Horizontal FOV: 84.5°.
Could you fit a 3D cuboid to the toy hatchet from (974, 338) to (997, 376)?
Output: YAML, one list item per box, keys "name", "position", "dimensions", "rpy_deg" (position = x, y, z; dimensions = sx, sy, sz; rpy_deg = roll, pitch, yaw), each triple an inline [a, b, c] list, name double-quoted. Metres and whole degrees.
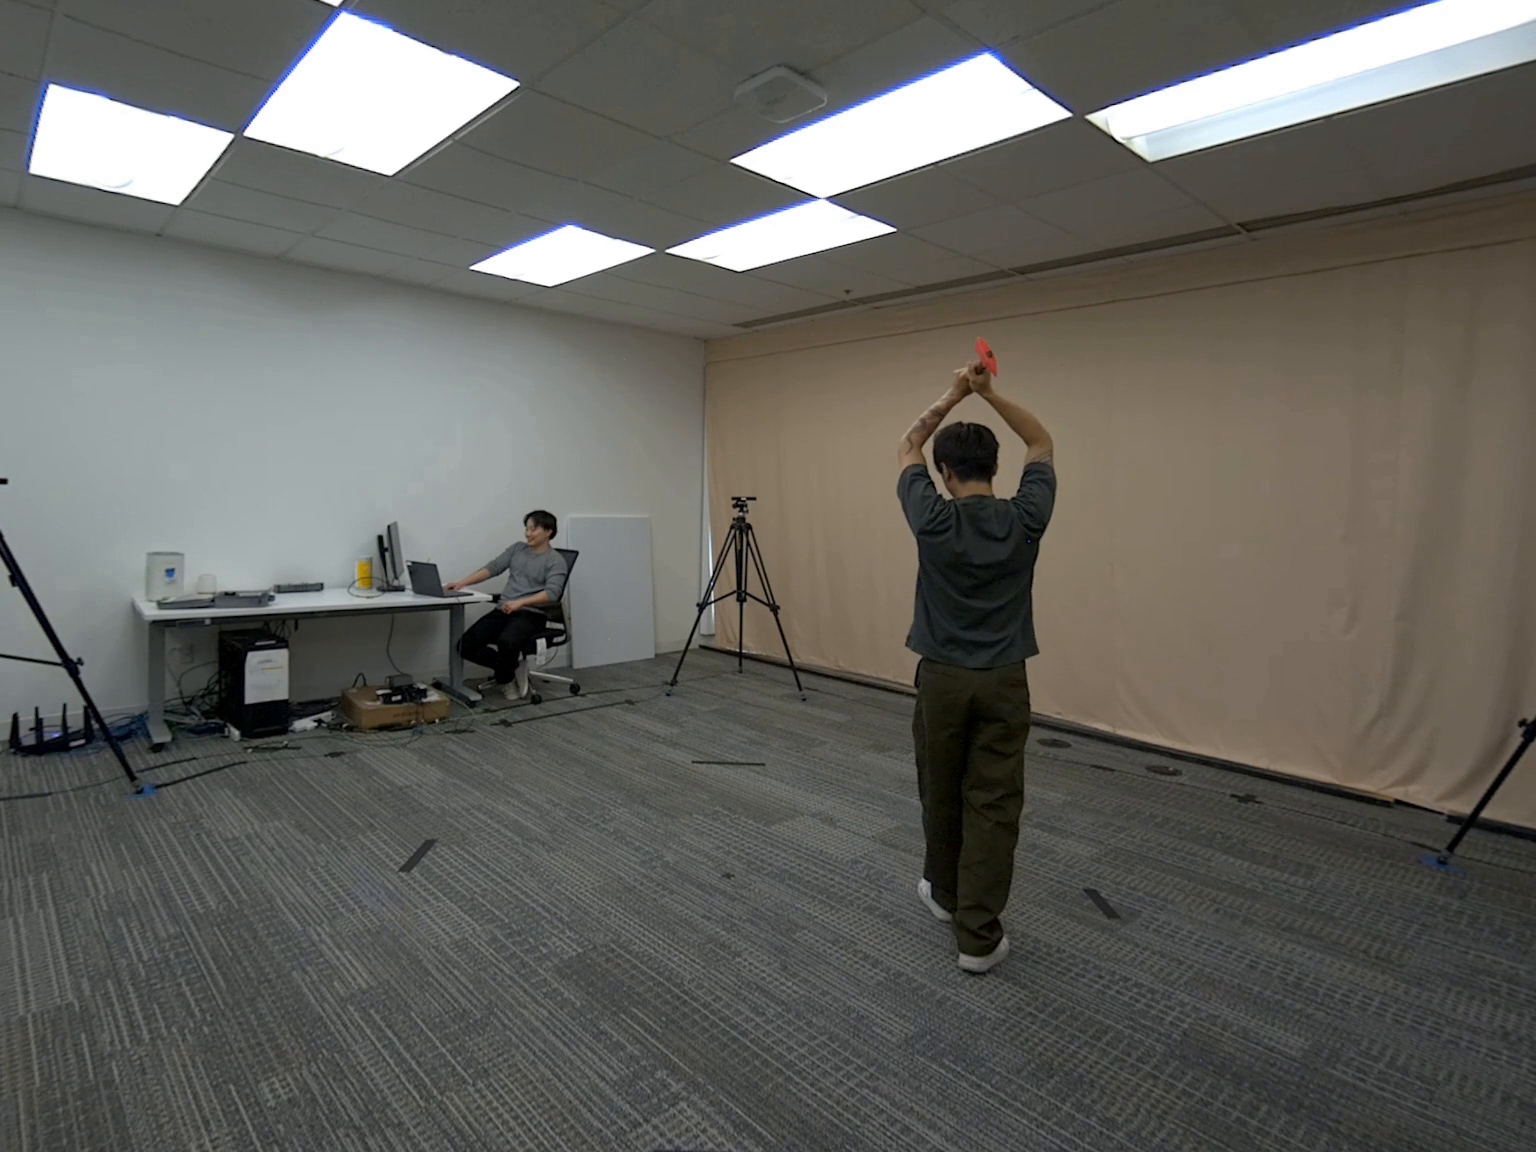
- name: "toy hatchet"
  position: [0.659, -0.688, 2.688]
  dimensions: [0.029, 0.130, 0.272]
  rpy_deg: [-17, 9, -1]
